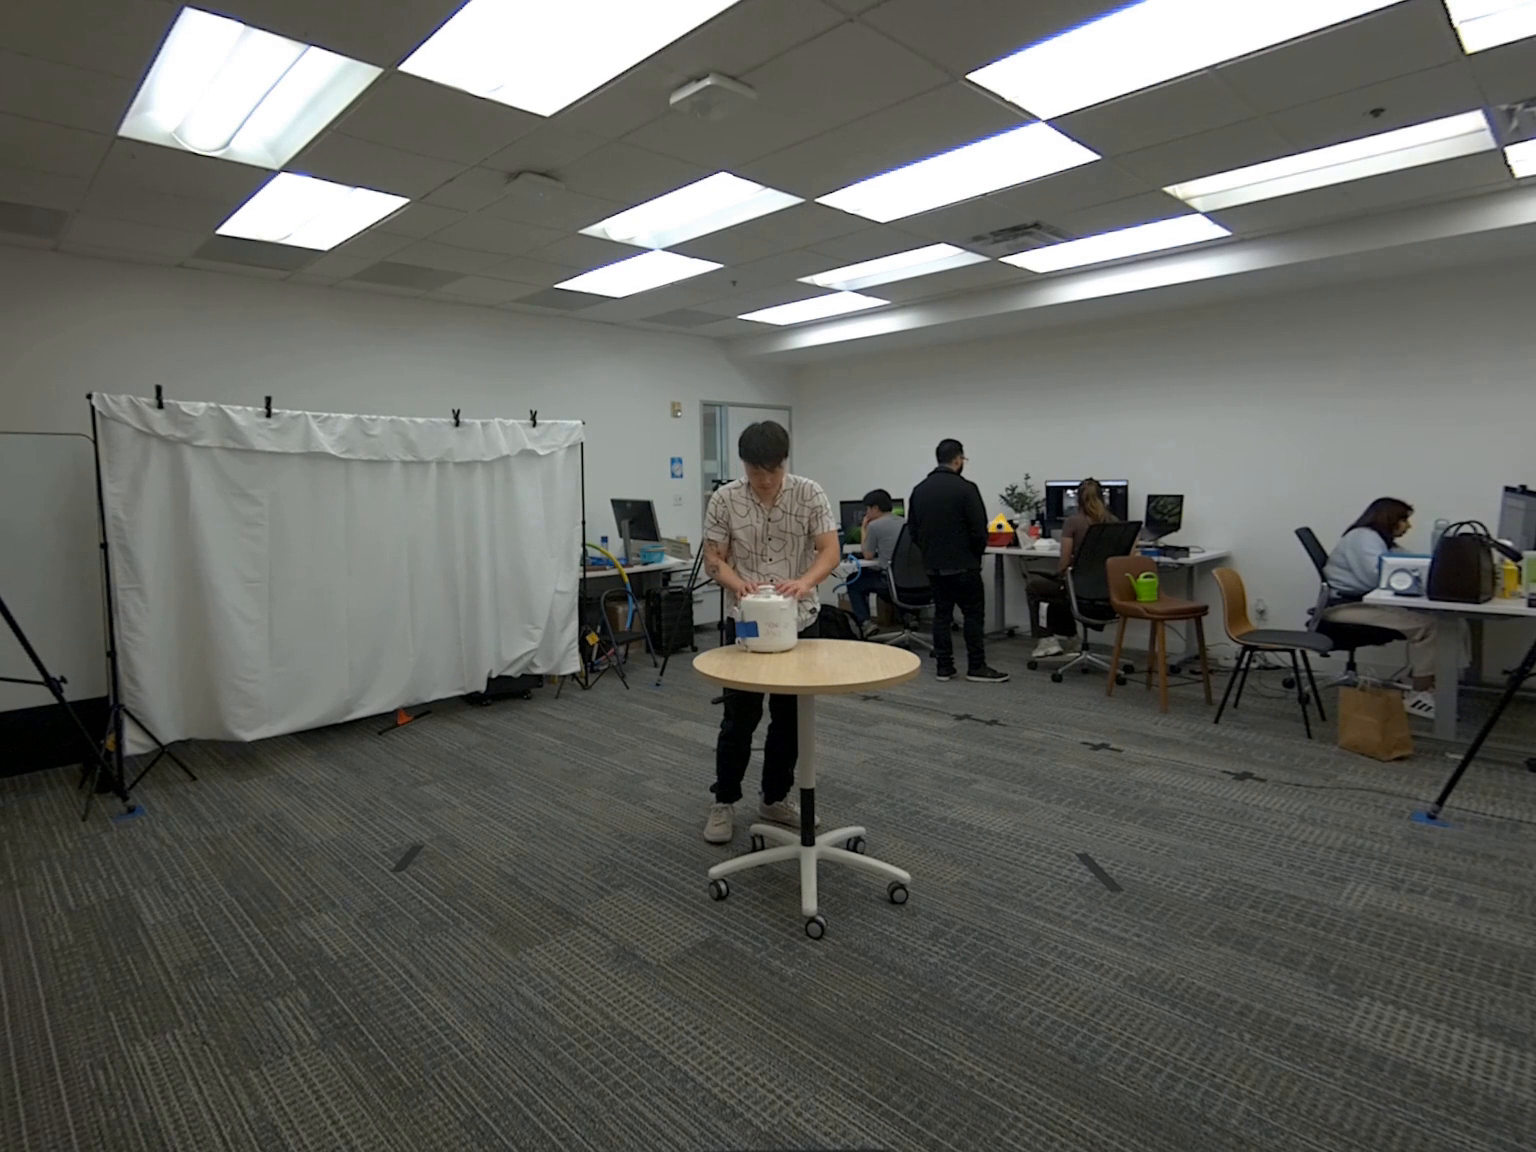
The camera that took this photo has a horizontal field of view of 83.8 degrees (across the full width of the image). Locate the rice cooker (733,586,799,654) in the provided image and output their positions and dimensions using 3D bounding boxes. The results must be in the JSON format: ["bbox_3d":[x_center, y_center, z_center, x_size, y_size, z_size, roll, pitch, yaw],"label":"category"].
[{"bbox_3d":[-0.005,0.153,3.101,0.225,0.232,0.214,1,5,20],"label":"rice cooker"}]
